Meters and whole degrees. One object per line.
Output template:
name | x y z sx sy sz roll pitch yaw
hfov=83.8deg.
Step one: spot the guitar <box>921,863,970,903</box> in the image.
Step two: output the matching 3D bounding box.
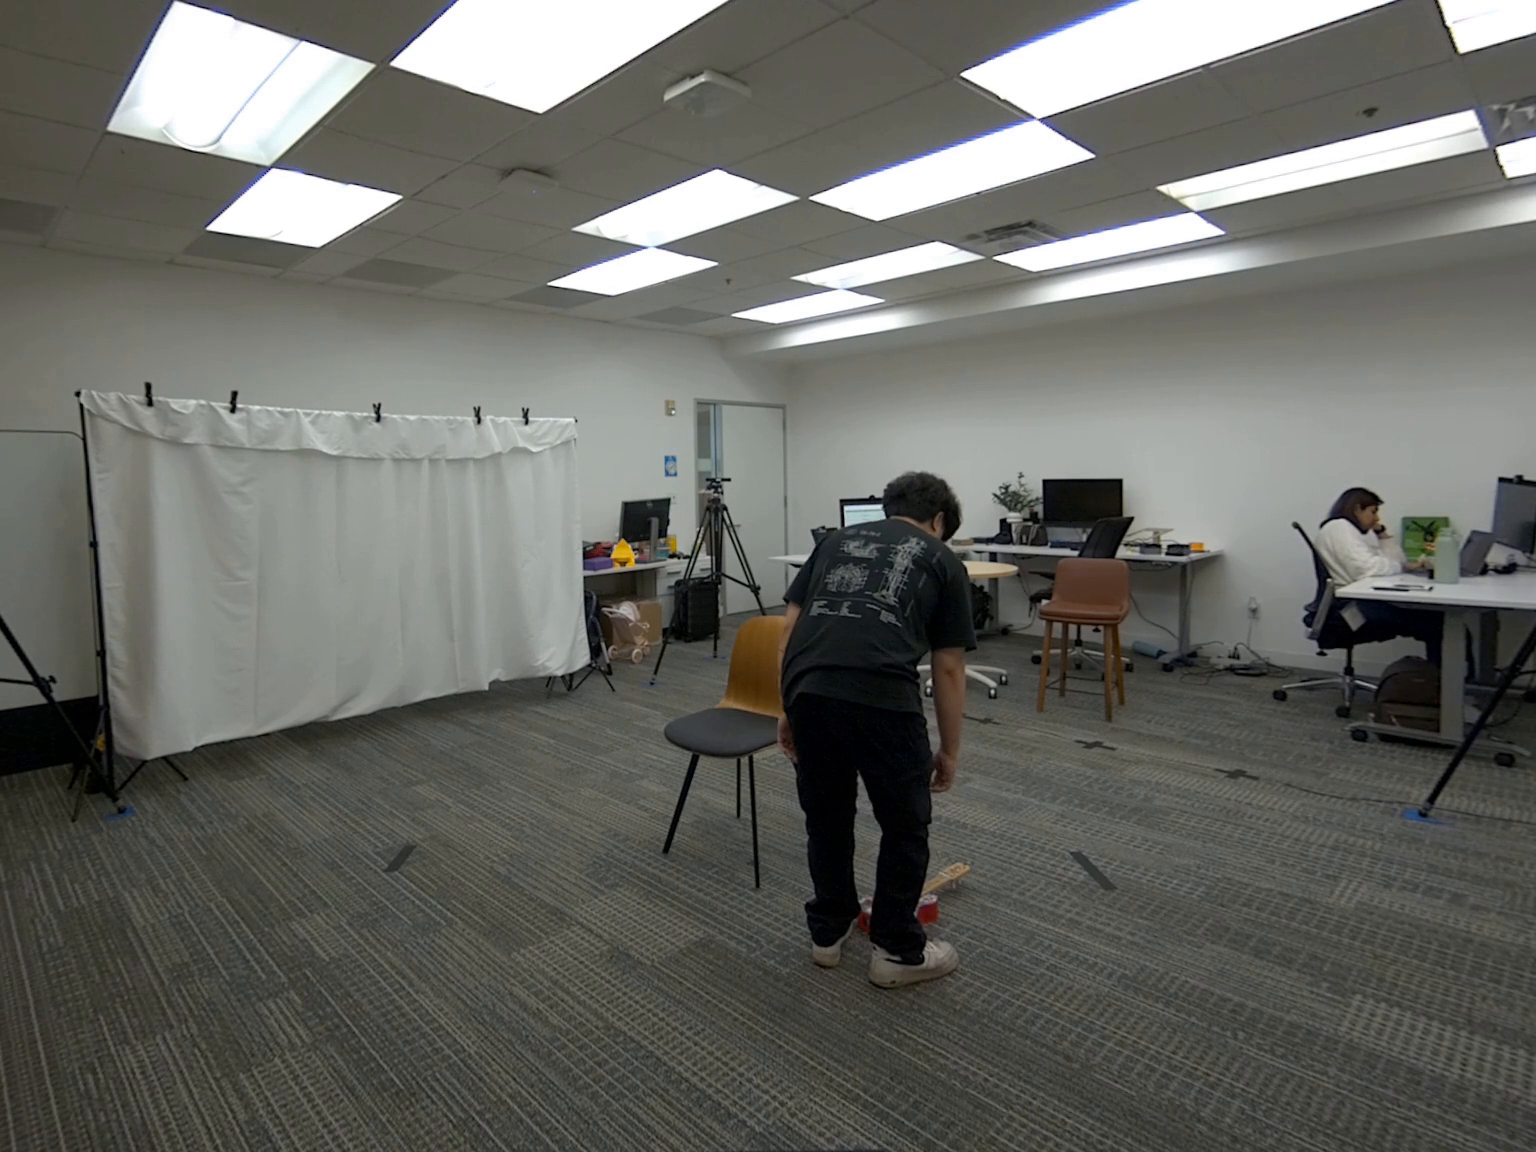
guitar | 0.521 1.042 2.732 0.486 0.070 0.198 -6 7 -33
